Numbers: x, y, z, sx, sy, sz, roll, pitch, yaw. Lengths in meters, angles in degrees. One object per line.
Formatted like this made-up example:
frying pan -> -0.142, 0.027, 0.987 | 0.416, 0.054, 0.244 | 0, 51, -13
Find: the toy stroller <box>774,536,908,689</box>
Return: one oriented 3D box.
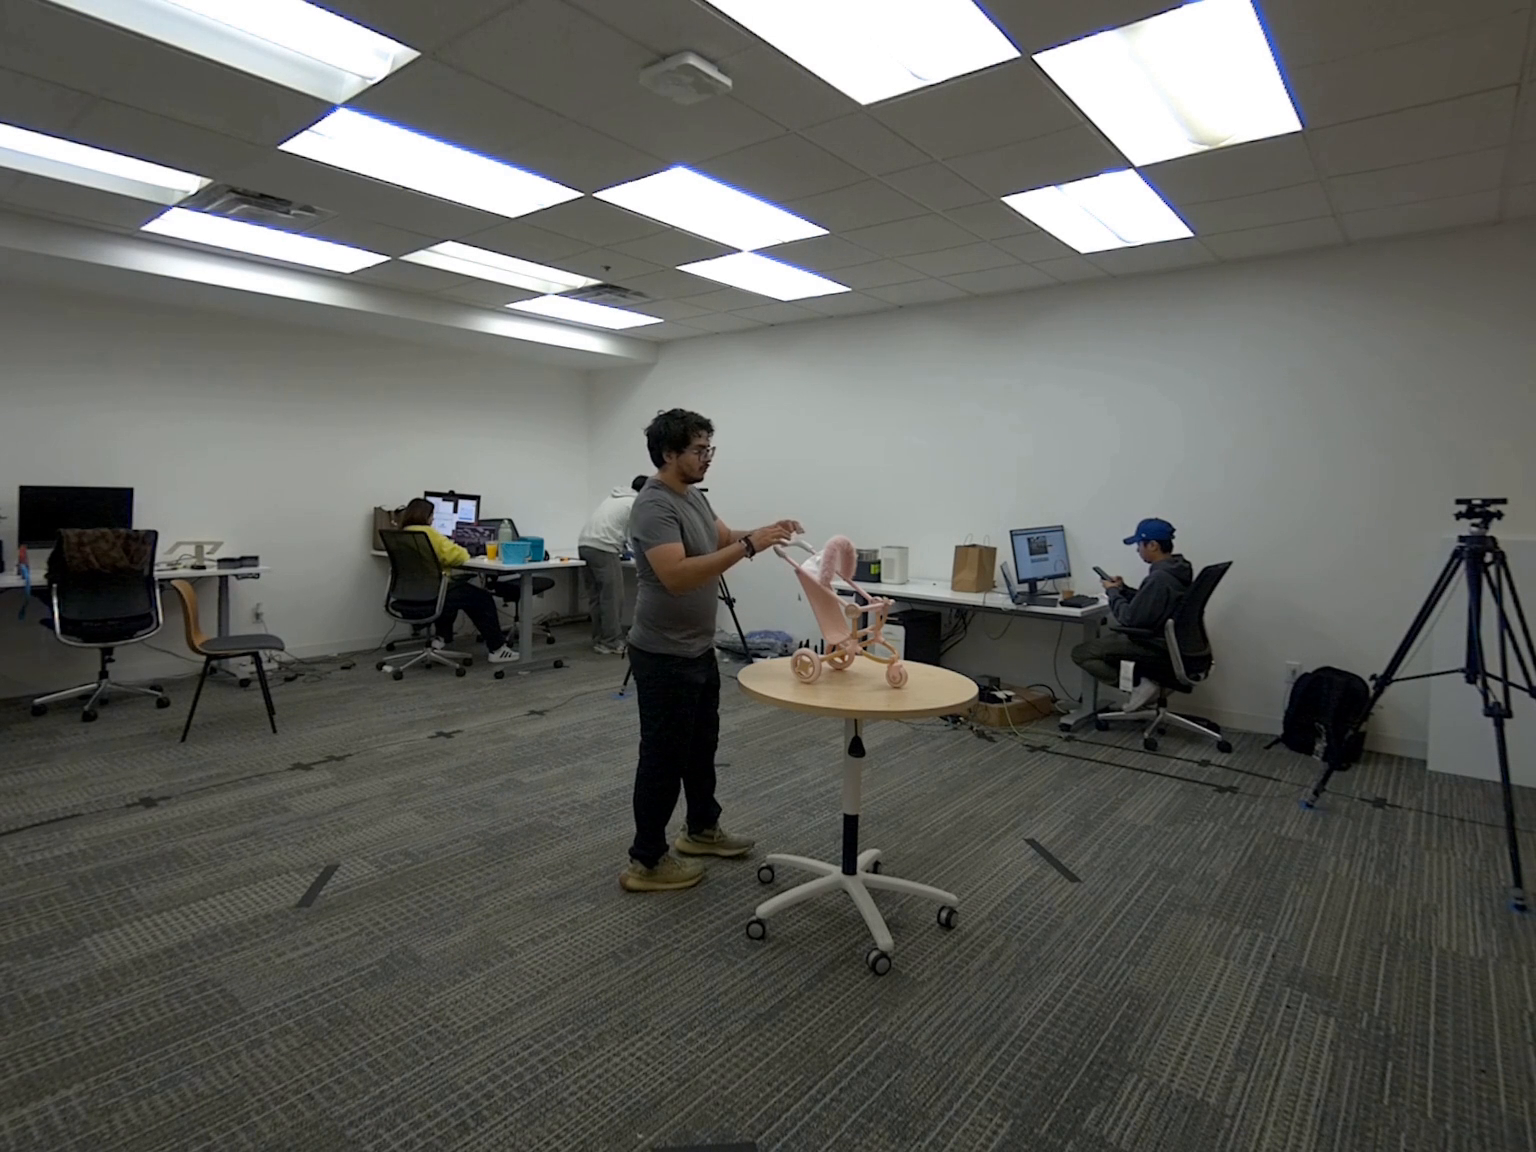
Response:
toy stroller -> 0.238, 0.110, 2.743 | 0.349, 0.537, 0.274 | -13, -4, 36
